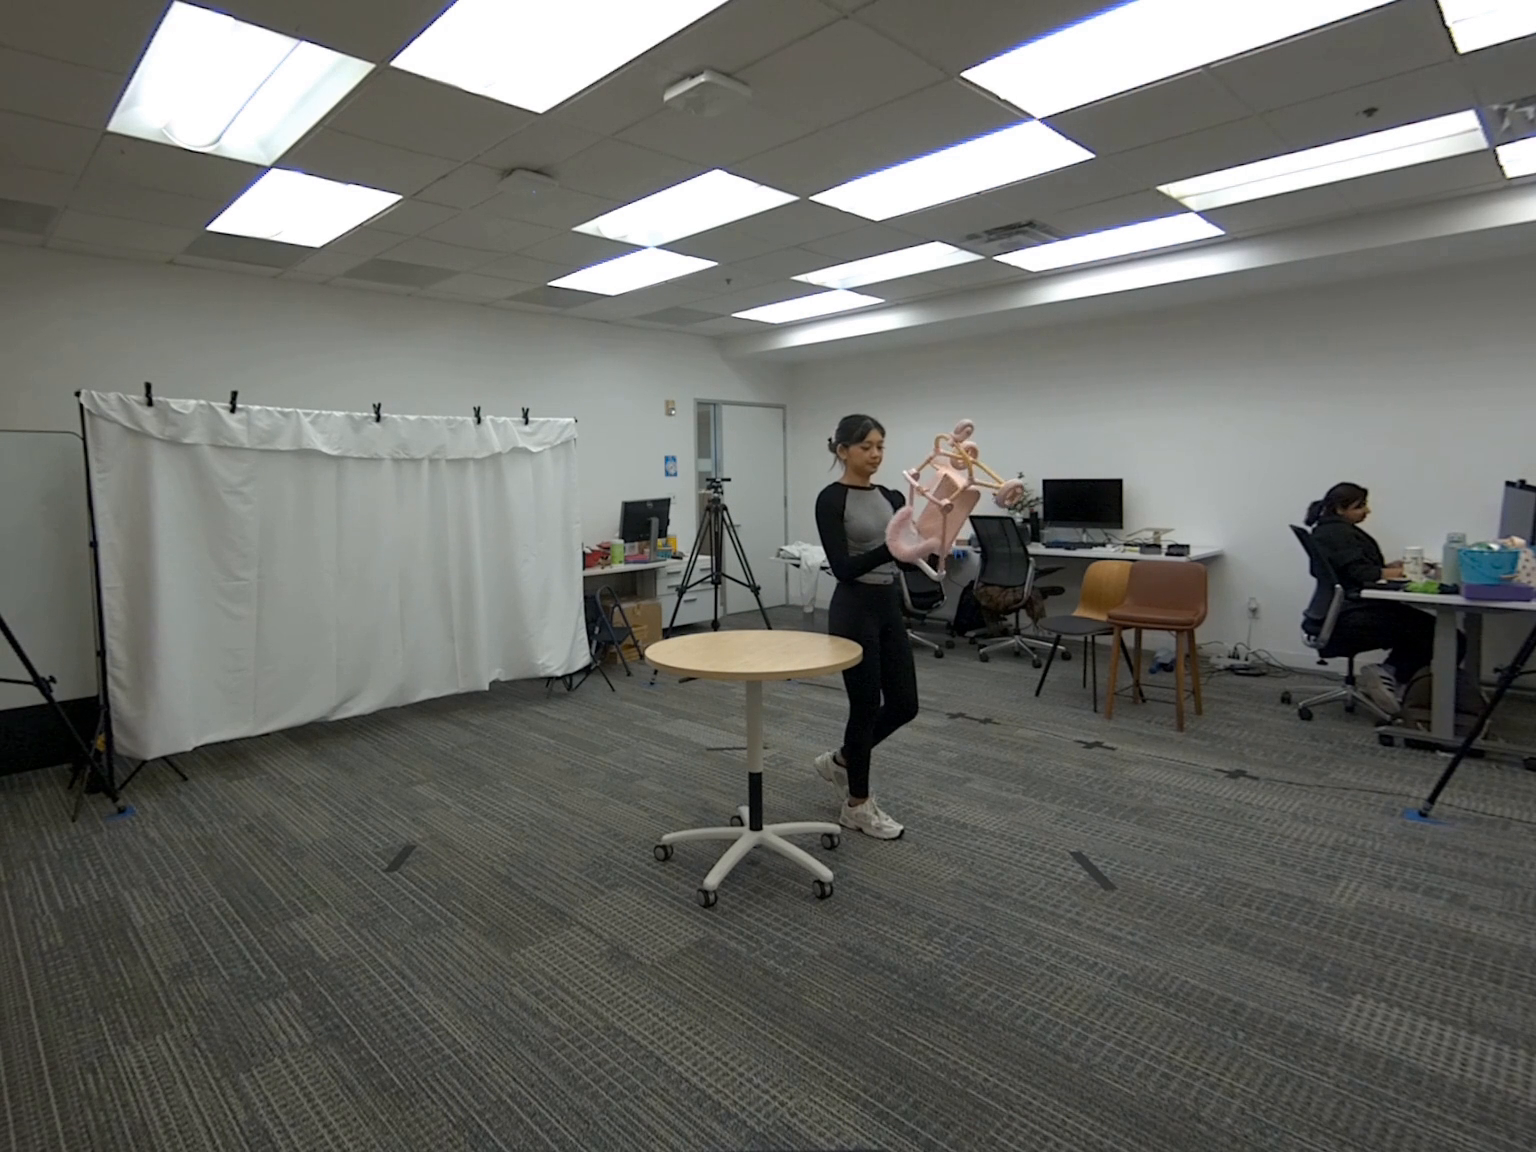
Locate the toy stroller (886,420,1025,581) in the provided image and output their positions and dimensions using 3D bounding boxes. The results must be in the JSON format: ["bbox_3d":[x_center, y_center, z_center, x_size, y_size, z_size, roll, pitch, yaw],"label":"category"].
[{"bbox_3d":[0.583,-0.246,2.853,0.329,0.533,0.292,17,27,-45],"label":"toy stroller"}]
